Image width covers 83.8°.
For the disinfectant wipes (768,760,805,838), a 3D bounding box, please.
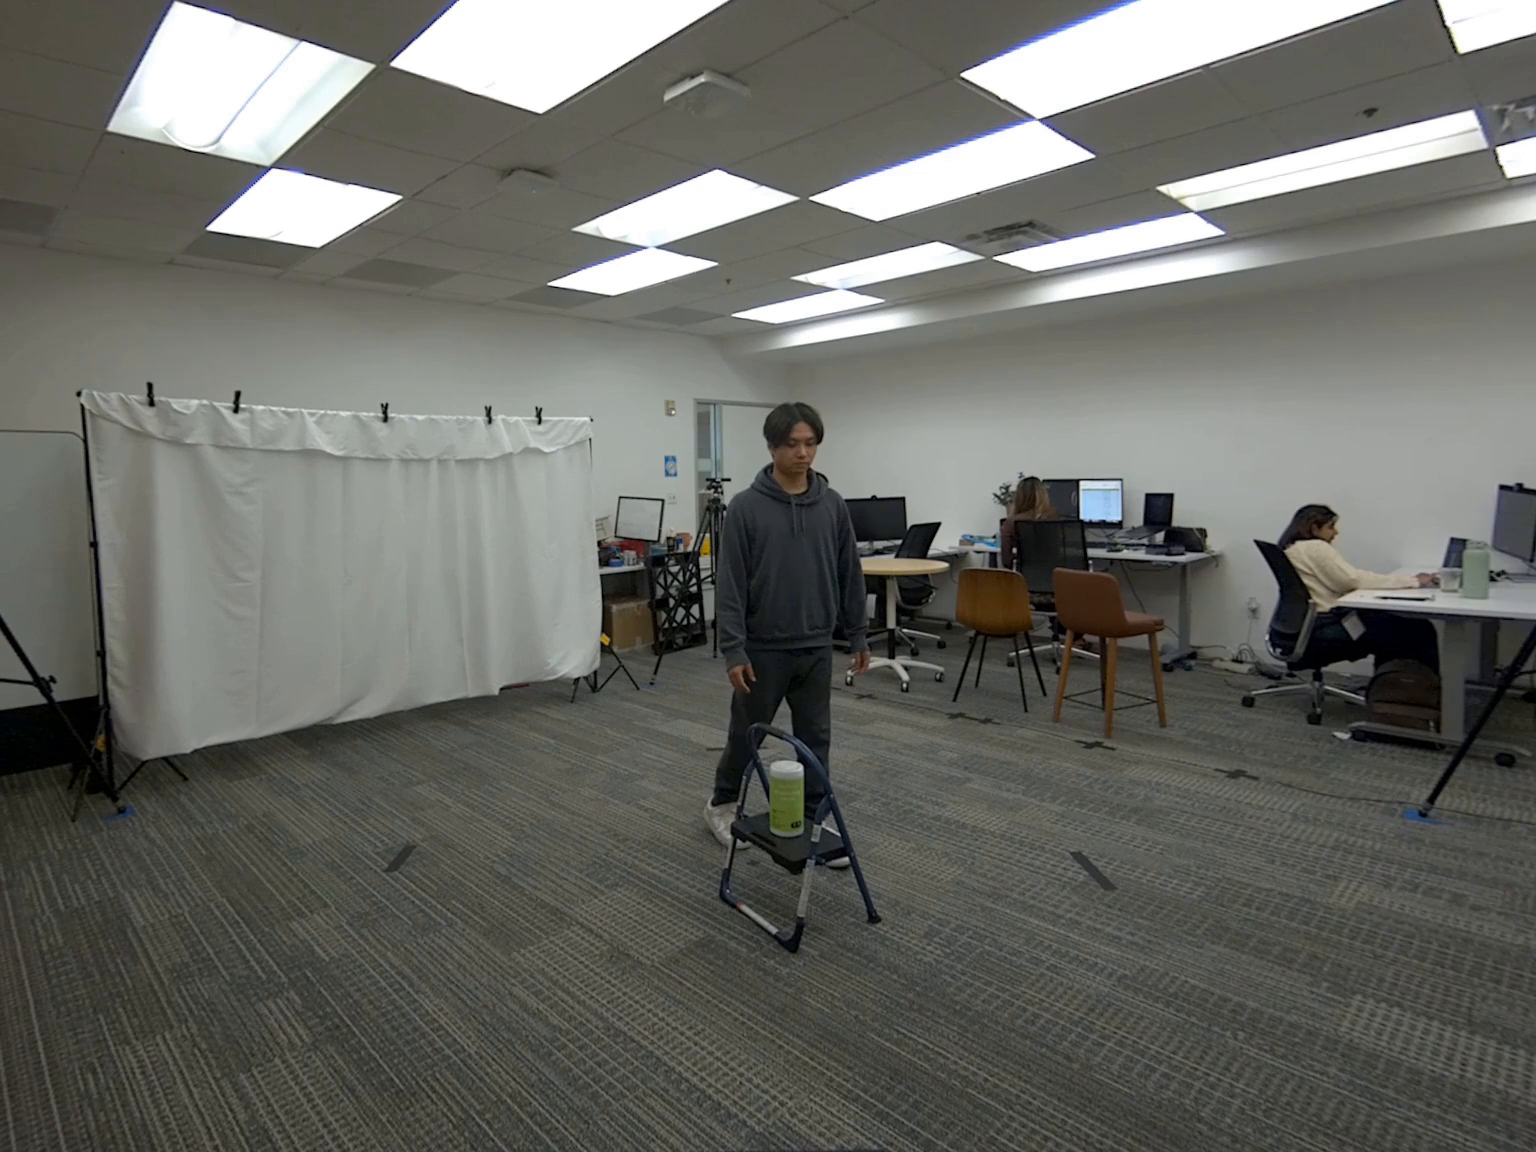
[{"bbox_3d":[0.063,0.719,2.738,0.118,0.216,0.118,-1,5,-2],"label":"disinfectant wipes"}]
